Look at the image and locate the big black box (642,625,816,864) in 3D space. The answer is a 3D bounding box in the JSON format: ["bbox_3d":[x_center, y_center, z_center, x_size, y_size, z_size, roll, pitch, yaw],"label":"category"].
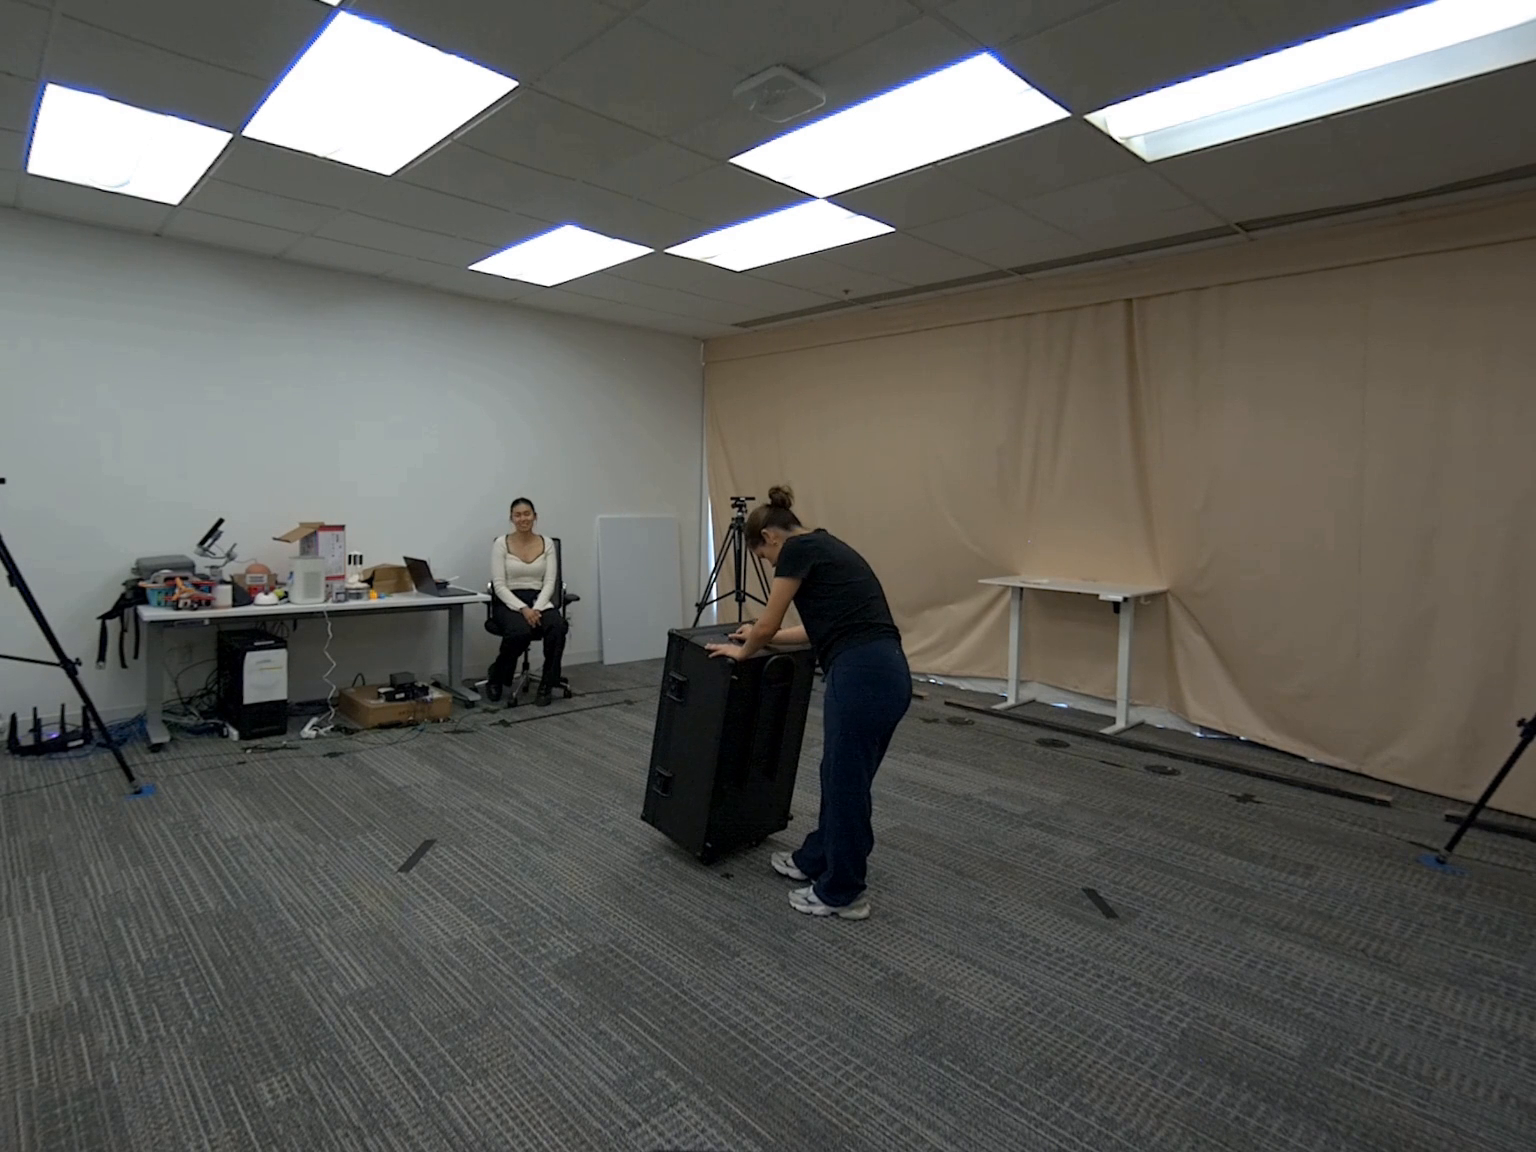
[{"bbox_3d":[-0.167,0.649,3.295,0.408,0.856,0.509,18,14,41],"label":"big black box"}]
